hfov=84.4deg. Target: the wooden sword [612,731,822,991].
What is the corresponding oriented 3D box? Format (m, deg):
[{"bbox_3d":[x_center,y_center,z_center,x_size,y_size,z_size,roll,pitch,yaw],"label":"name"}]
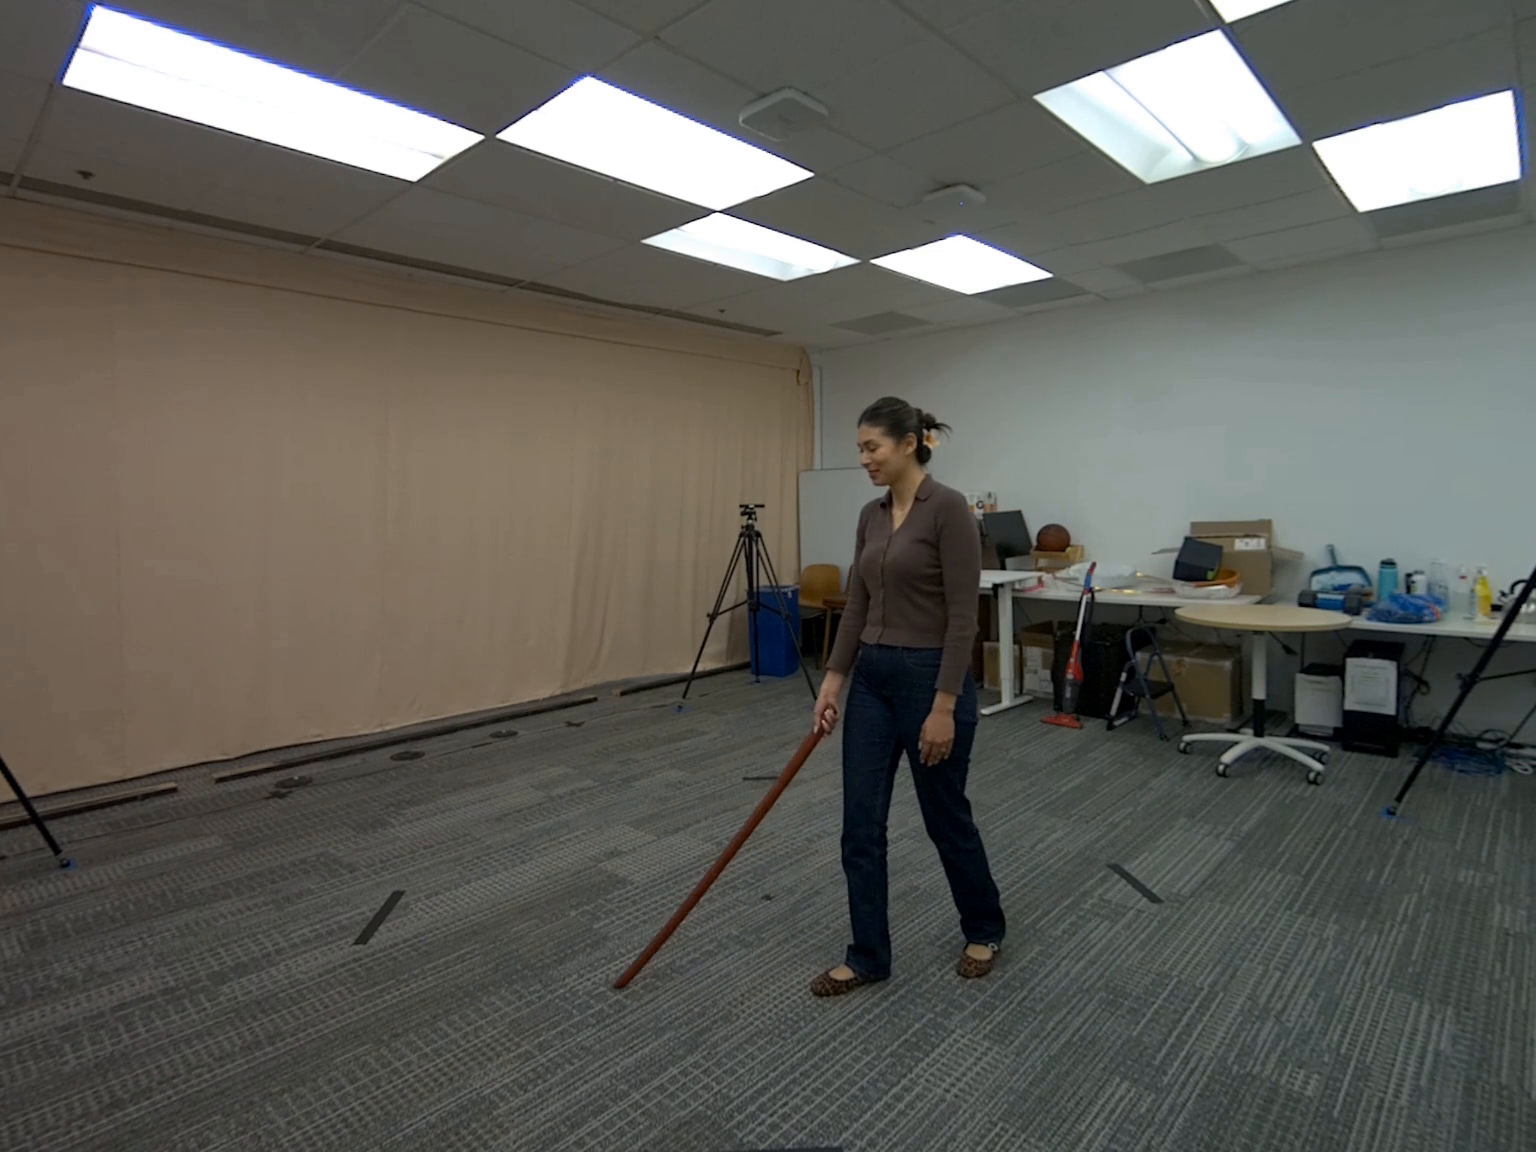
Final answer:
[{"bbox_3d":[-0.115,0.807,2.459,0.023,1.024,0.052,39,-5,-17],"label":"wooden sword"}]
